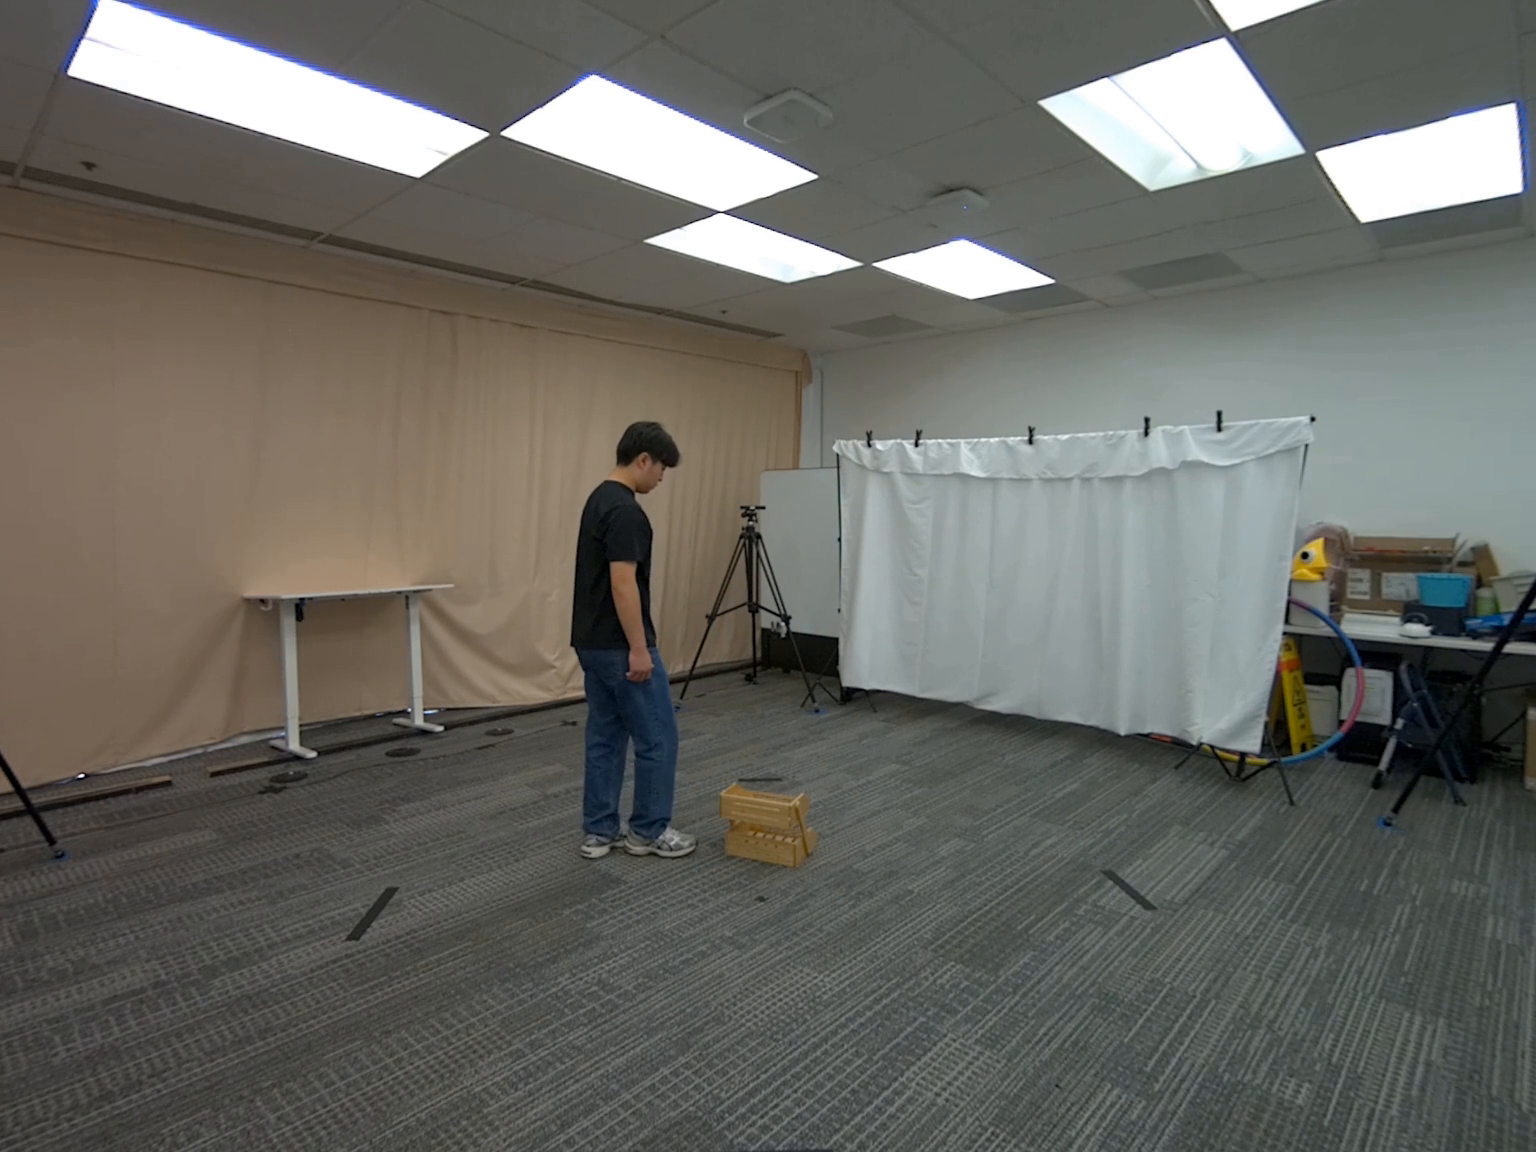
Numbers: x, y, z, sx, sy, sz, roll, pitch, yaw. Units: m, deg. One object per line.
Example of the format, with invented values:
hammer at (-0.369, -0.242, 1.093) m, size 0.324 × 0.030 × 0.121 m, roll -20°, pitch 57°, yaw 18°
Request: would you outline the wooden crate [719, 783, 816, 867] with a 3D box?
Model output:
wooden crate at (0.006, 0.975, 3.386) m, size 0.333 × 0.272 × 0.295 m, roll 2°, pitch 5°, yaw 24°
